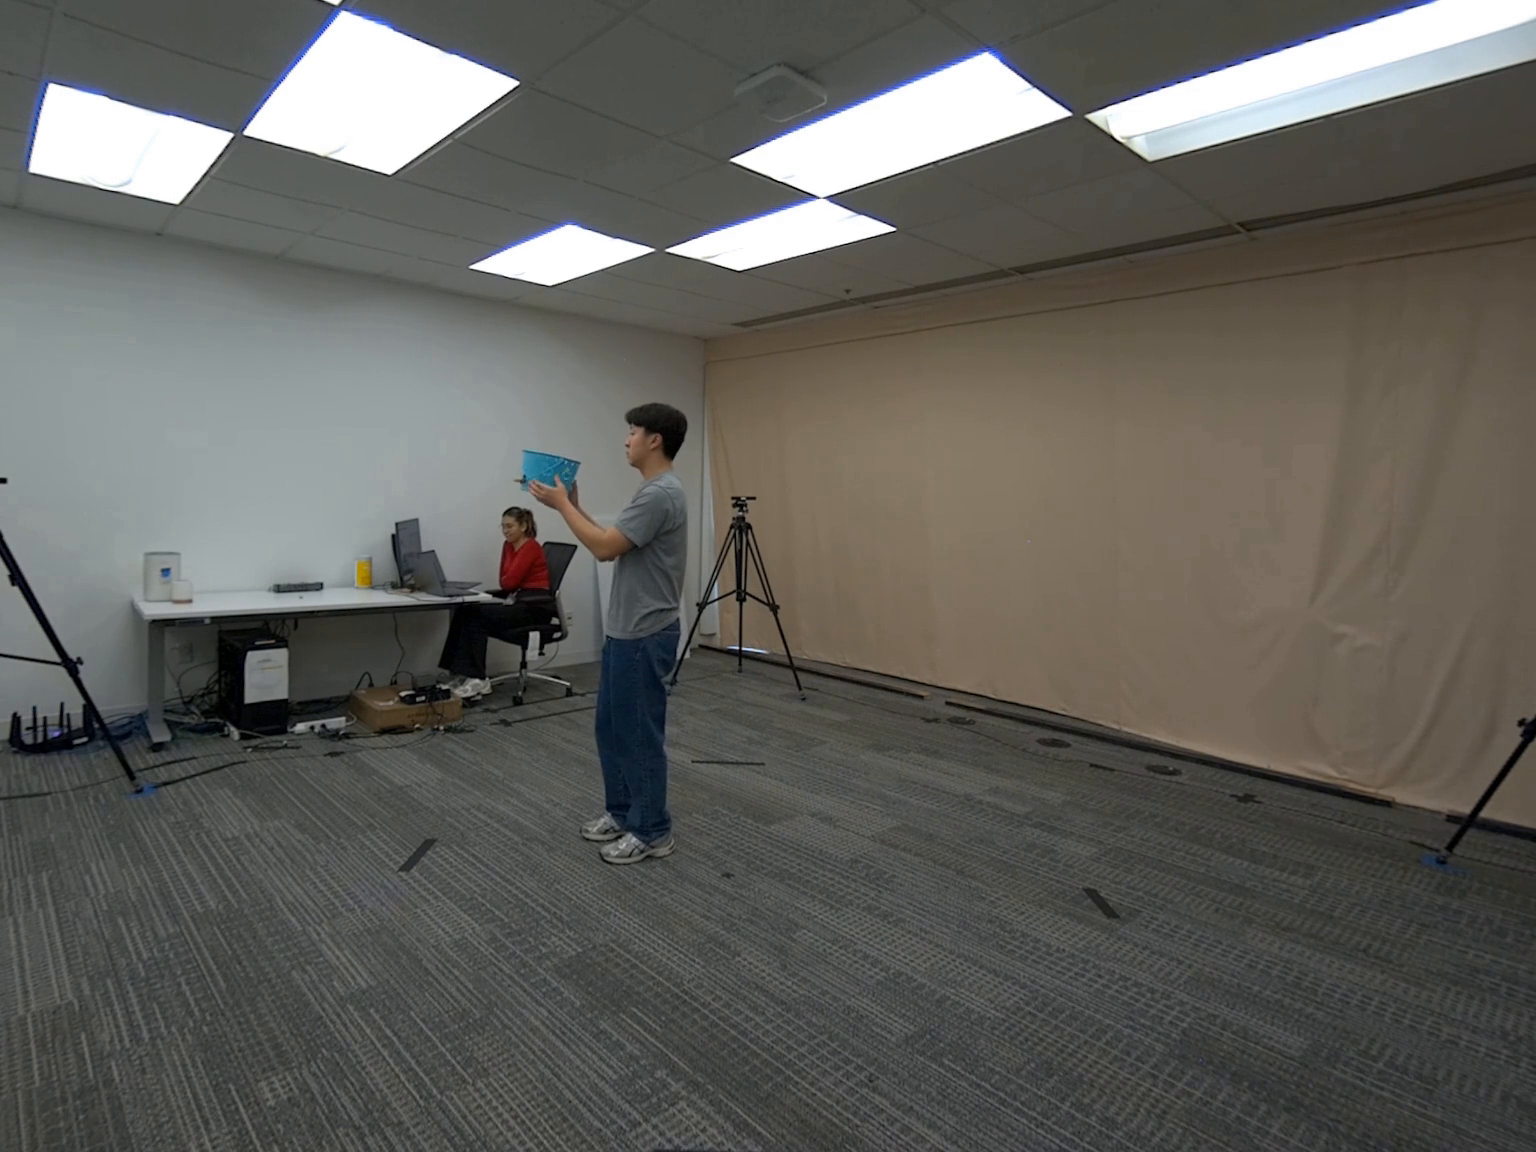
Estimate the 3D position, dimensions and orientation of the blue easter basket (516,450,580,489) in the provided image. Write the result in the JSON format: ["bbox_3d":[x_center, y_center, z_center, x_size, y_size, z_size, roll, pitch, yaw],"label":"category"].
[{"bbox_3d":[-0.871,-0.392,3.282,0.243,0.156,0.243,12,0,-1],"label":"blue easter basket"}]
